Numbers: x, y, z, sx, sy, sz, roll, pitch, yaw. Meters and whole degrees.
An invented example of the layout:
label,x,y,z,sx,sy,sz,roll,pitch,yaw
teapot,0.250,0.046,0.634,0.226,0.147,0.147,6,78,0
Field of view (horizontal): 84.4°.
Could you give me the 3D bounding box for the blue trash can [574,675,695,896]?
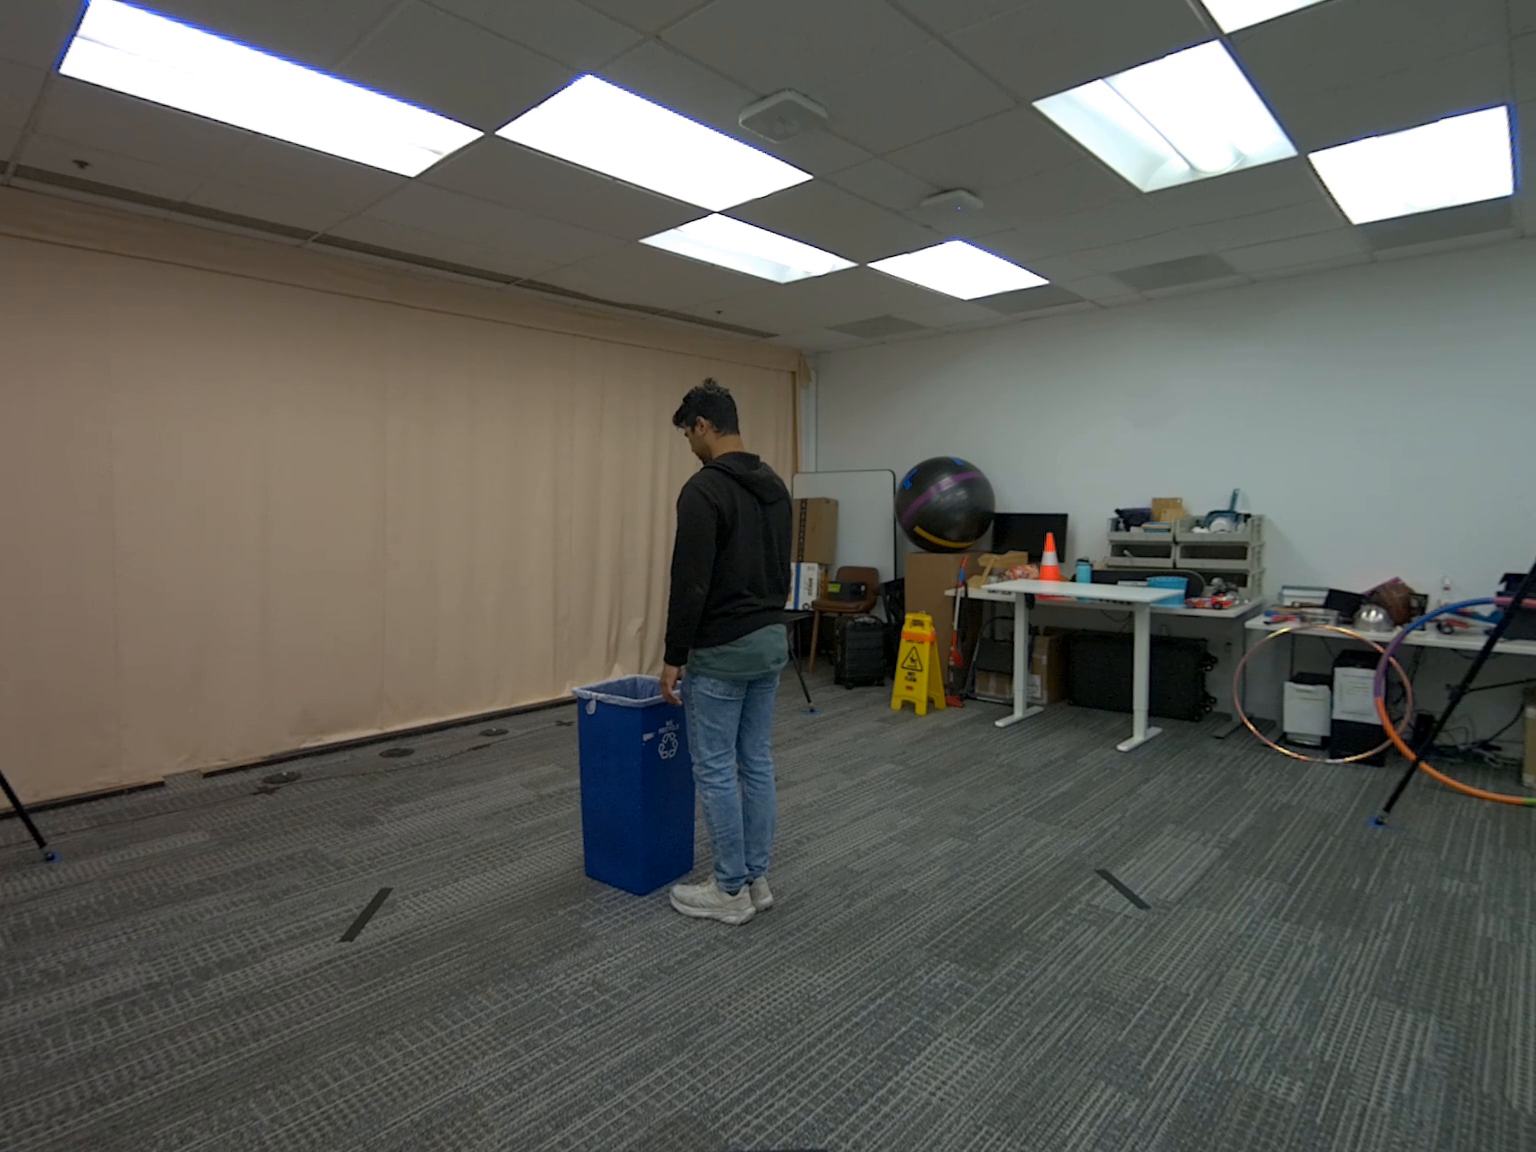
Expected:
label,x,y,z,sx,sy,sz,roll,pitch,yaw
blue trash can,-0.489,0.772,3.203,0.390,0.712,0.363,2,4,35
